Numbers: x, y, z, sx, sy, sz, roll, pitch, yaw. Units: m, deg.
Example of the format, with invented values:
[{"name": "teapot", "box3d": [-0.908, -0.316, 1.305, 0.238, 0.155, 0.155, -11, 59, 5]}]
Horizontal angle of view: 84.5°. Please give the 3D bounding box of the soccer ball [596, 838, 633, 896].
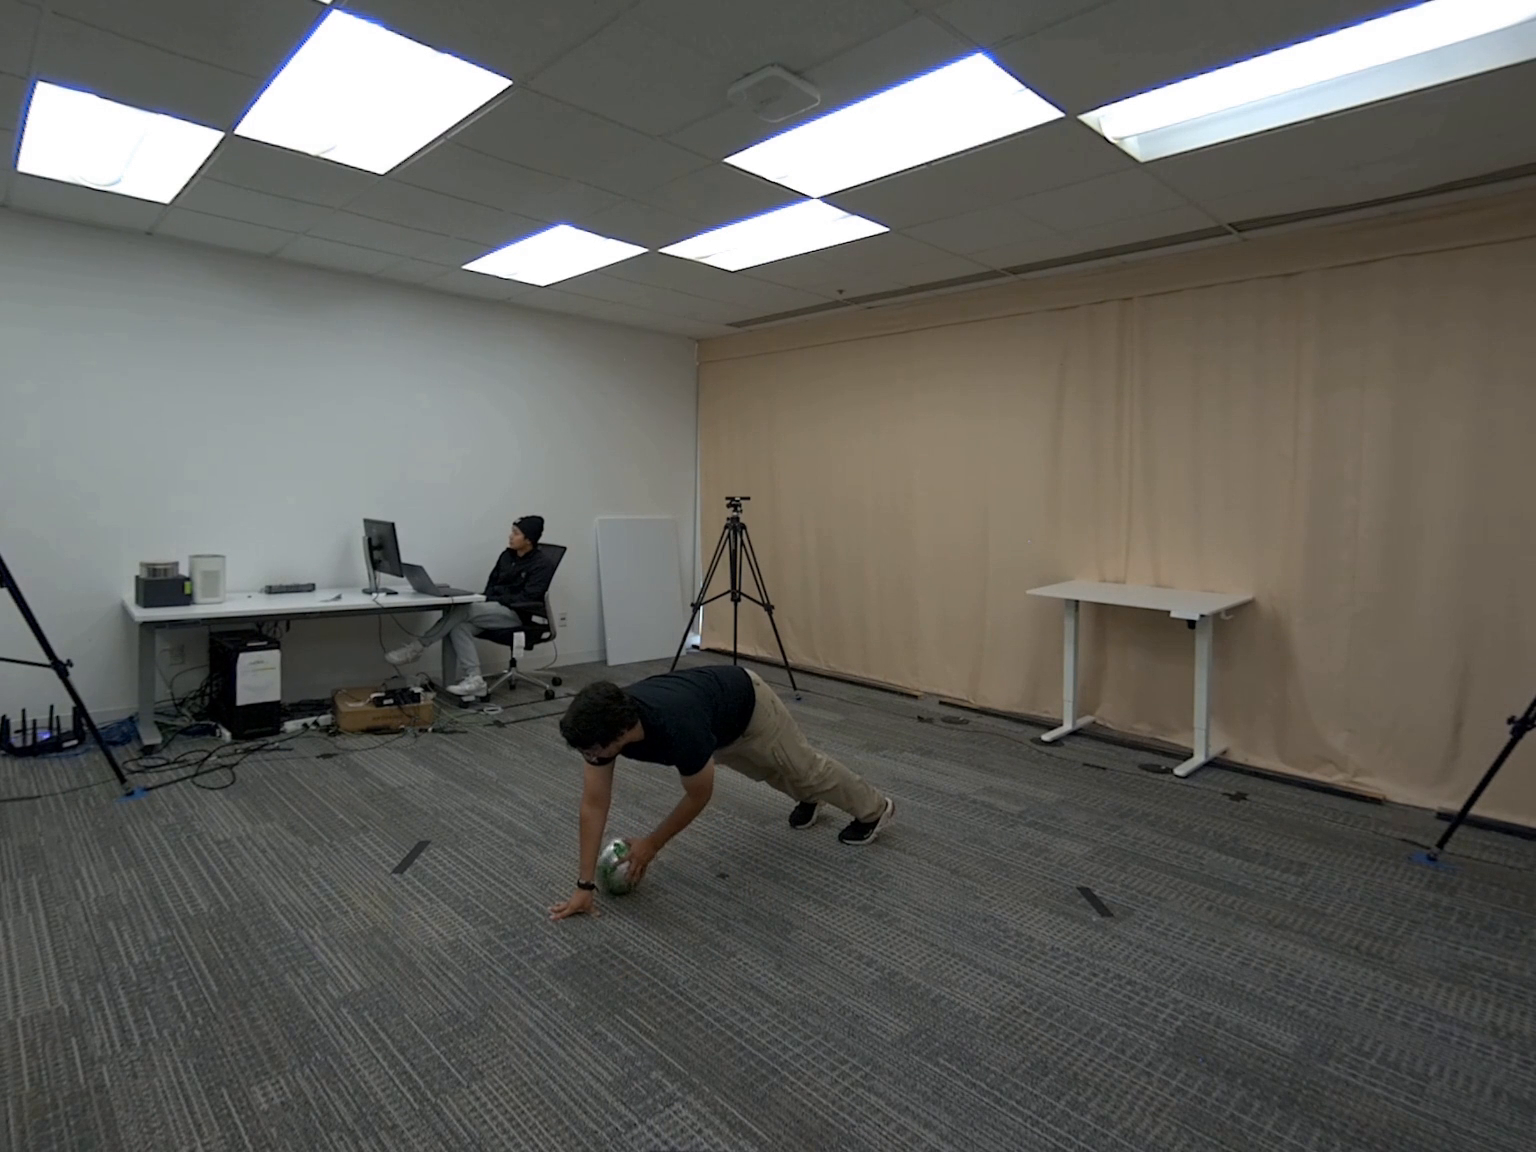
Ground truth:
[{"name": "soccer ball", "box3d": [-0.519, 1.019, 2.960, 0.187, 0.187, 0.188, 1, 4, -1]}]
